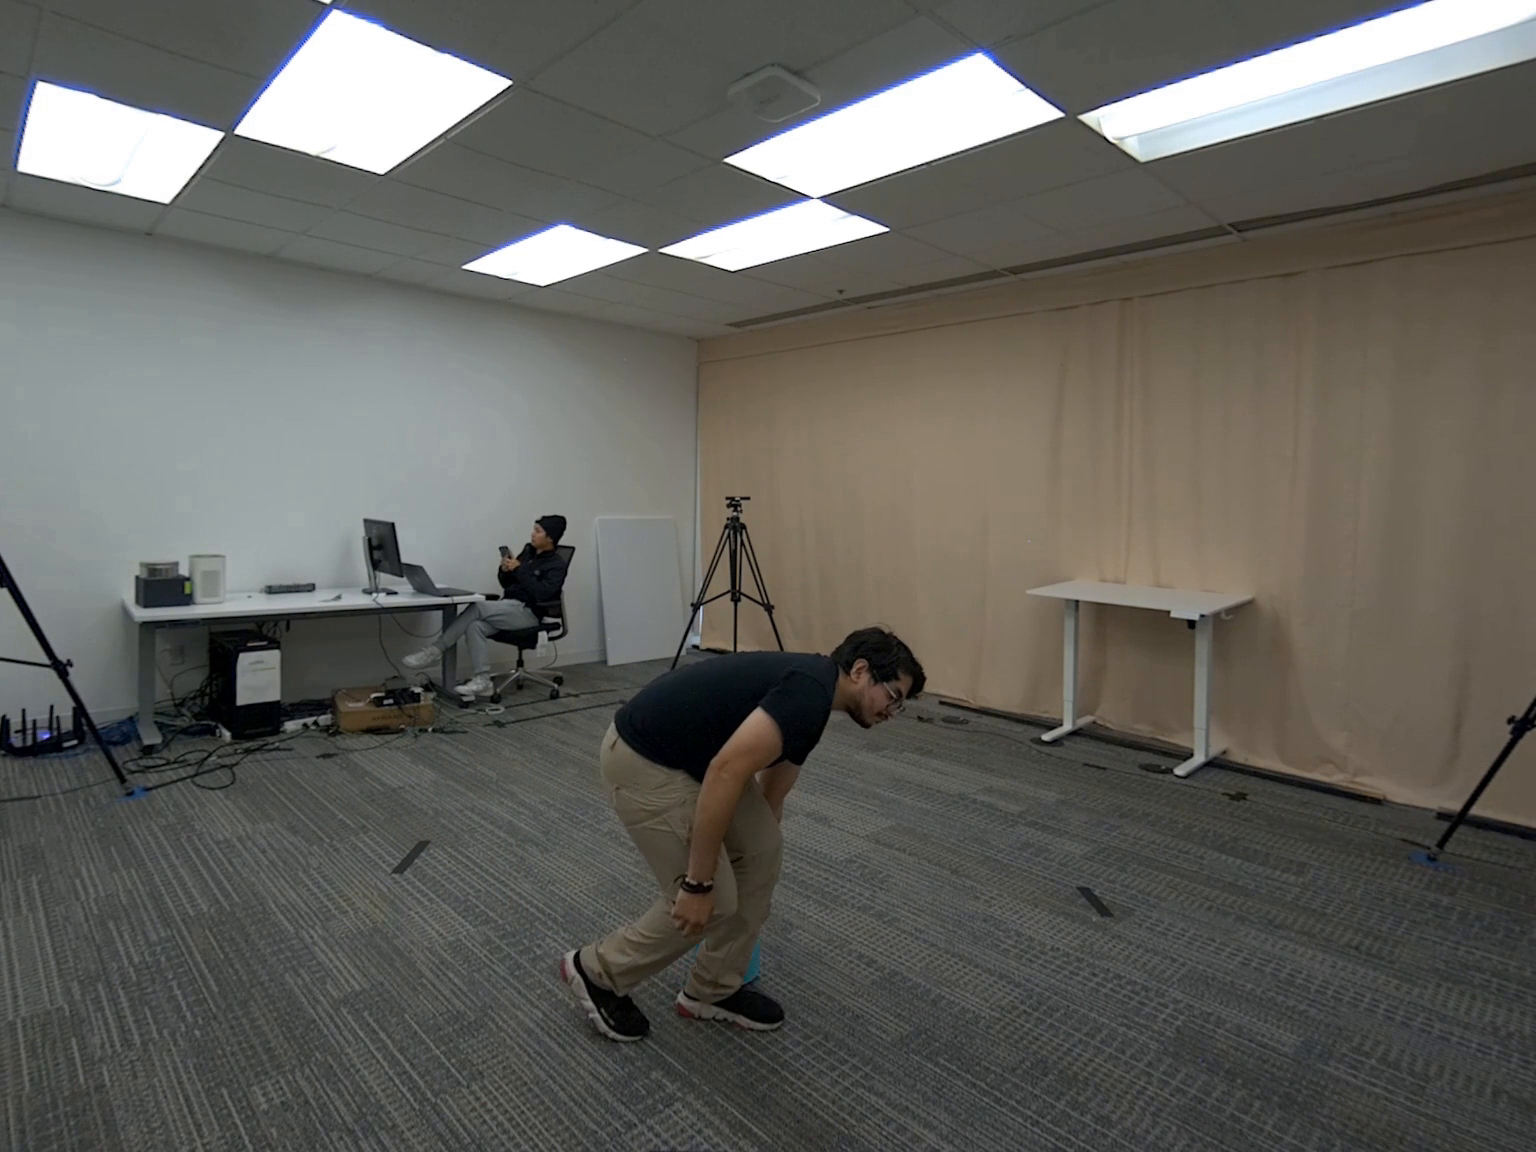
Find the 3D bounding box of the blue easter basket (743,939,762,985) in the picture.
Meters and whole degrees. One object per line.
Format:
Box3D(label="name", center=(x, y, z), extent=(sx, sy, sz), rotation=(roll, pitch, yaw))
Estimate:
Box3D(label="blue easter basket", center=(-0.124, 1.086, 2.453), extent=(0.243, 0.155, 0.244), rotation=(-5, 4, -1))
